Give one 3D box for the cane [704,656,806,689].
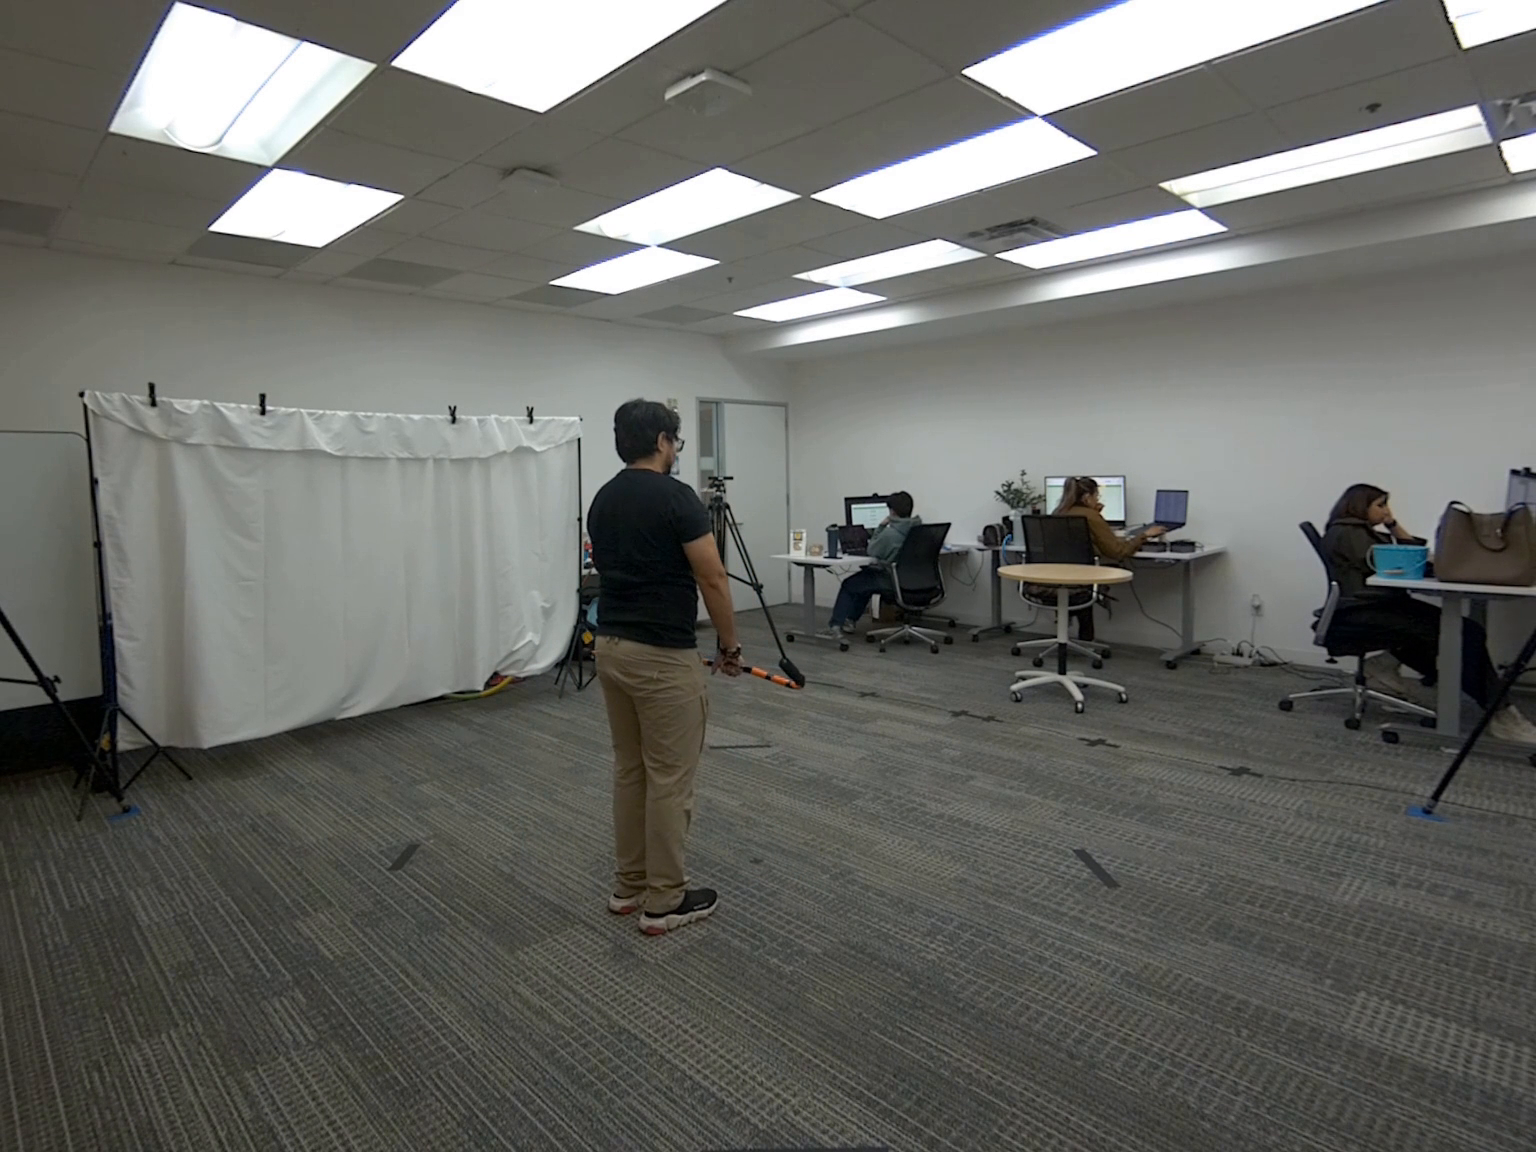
[{"bbox_3d":[-0.244,0.309,2.897,0.935,0.153,0.199,4,-35,43],"label":"cane"}]
